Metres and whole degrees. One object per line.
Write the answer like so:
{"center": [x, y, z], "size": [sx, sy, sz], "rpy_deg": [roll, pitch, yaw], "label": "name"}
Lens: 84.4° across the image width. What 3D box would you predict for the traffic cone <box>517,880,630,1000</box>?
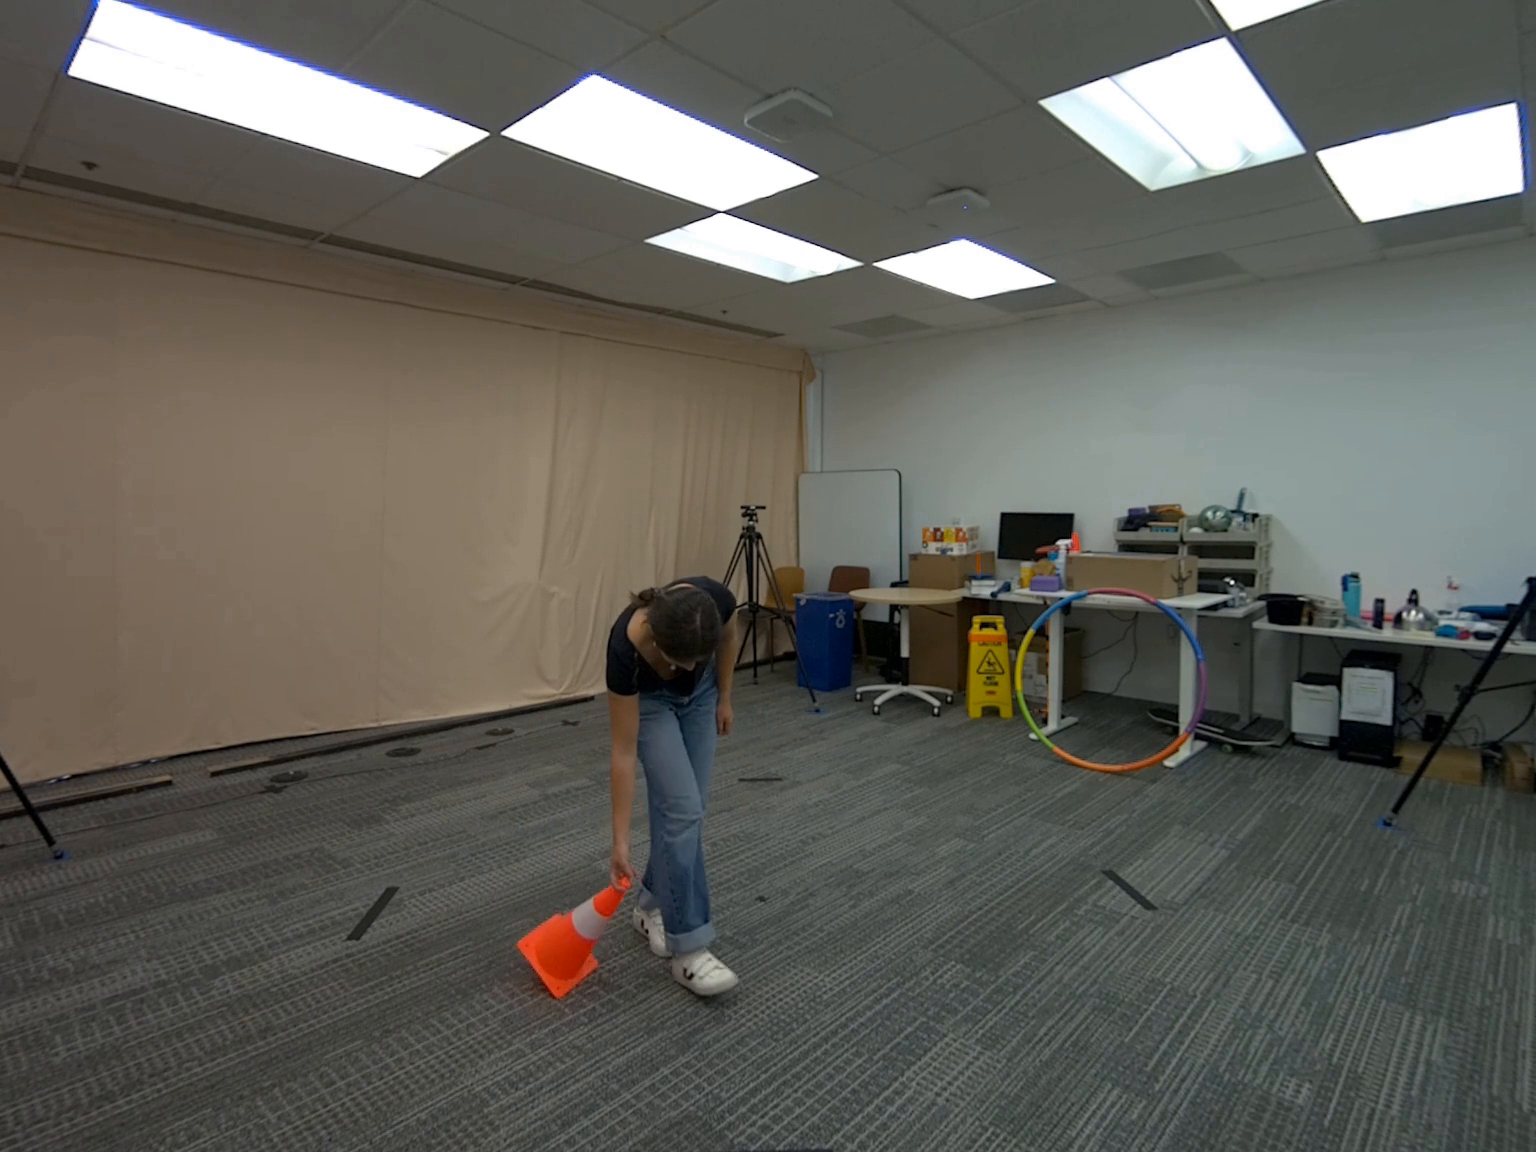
{"center": [-0.504, 0.997, 2.420], "size": [0.210, 0.385, 0.198], "rpy_deg": [47, 23, 19], "label": "traffic cone"}
